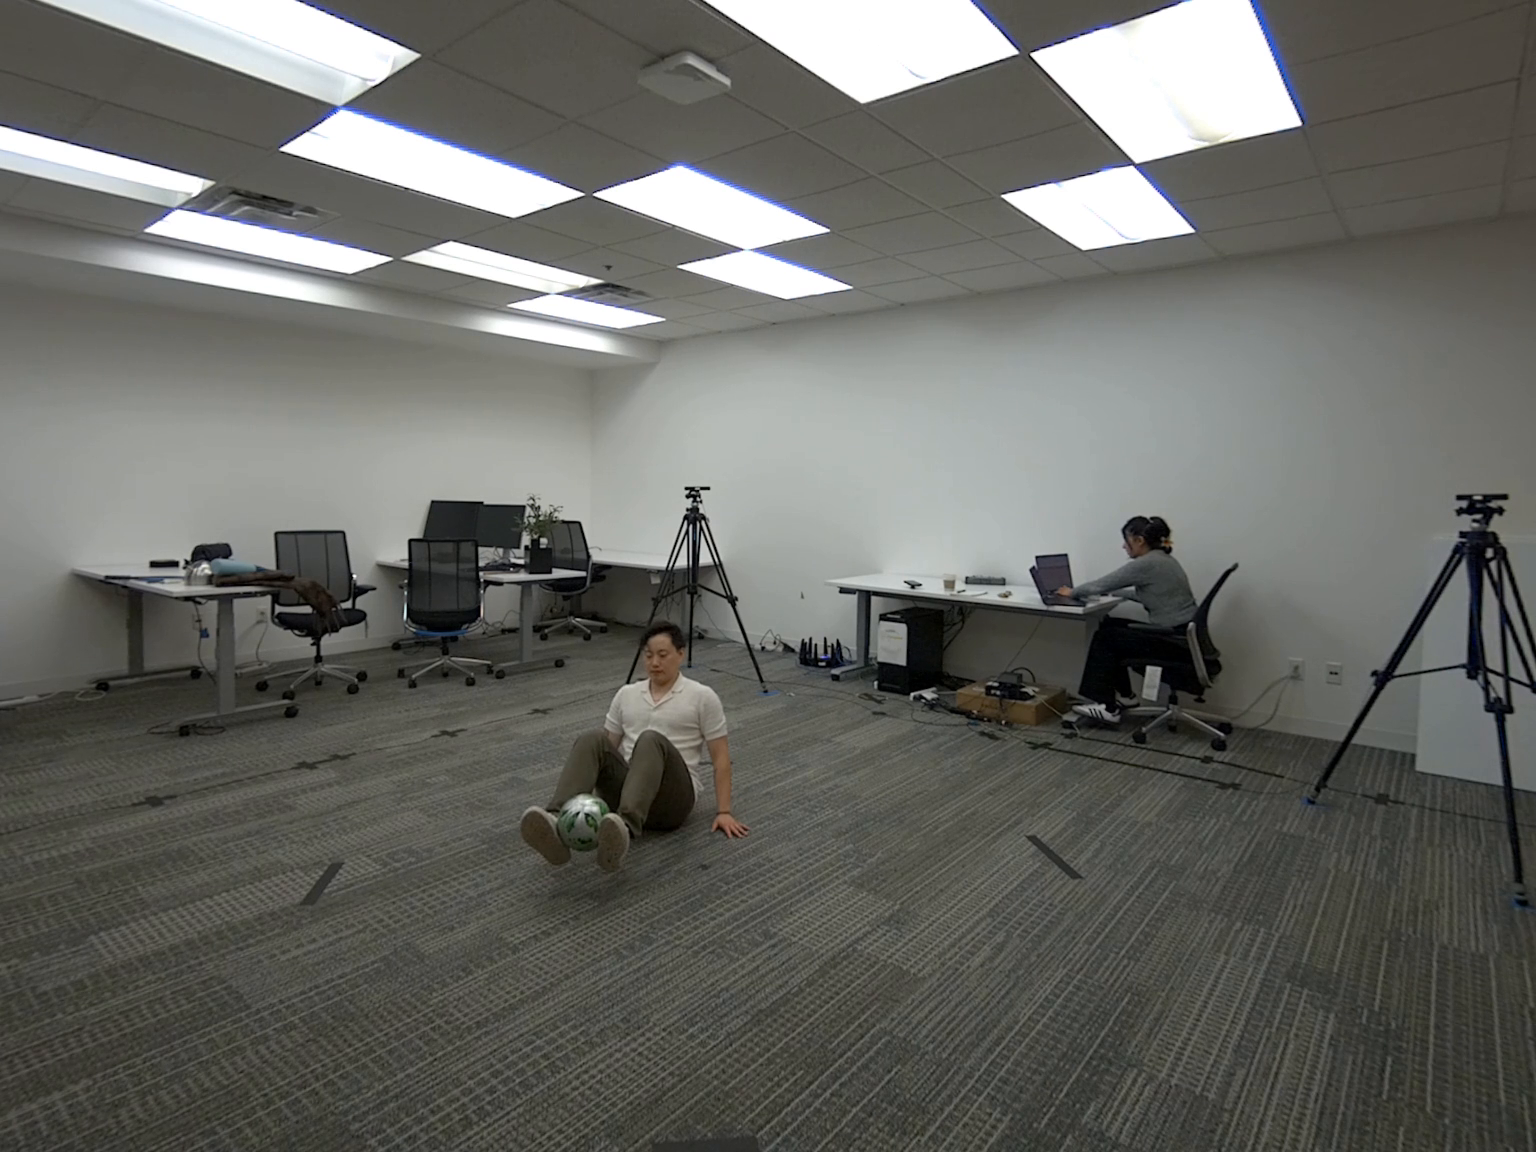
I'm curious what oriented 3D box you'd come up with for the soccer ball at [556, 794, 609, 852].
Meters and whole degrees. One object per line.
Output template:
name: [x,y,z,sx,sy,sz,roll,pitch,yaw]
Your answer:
soccer ball: [-0.655,0.844,2.927,0.187,0.187,0.188,1,4,-2]
